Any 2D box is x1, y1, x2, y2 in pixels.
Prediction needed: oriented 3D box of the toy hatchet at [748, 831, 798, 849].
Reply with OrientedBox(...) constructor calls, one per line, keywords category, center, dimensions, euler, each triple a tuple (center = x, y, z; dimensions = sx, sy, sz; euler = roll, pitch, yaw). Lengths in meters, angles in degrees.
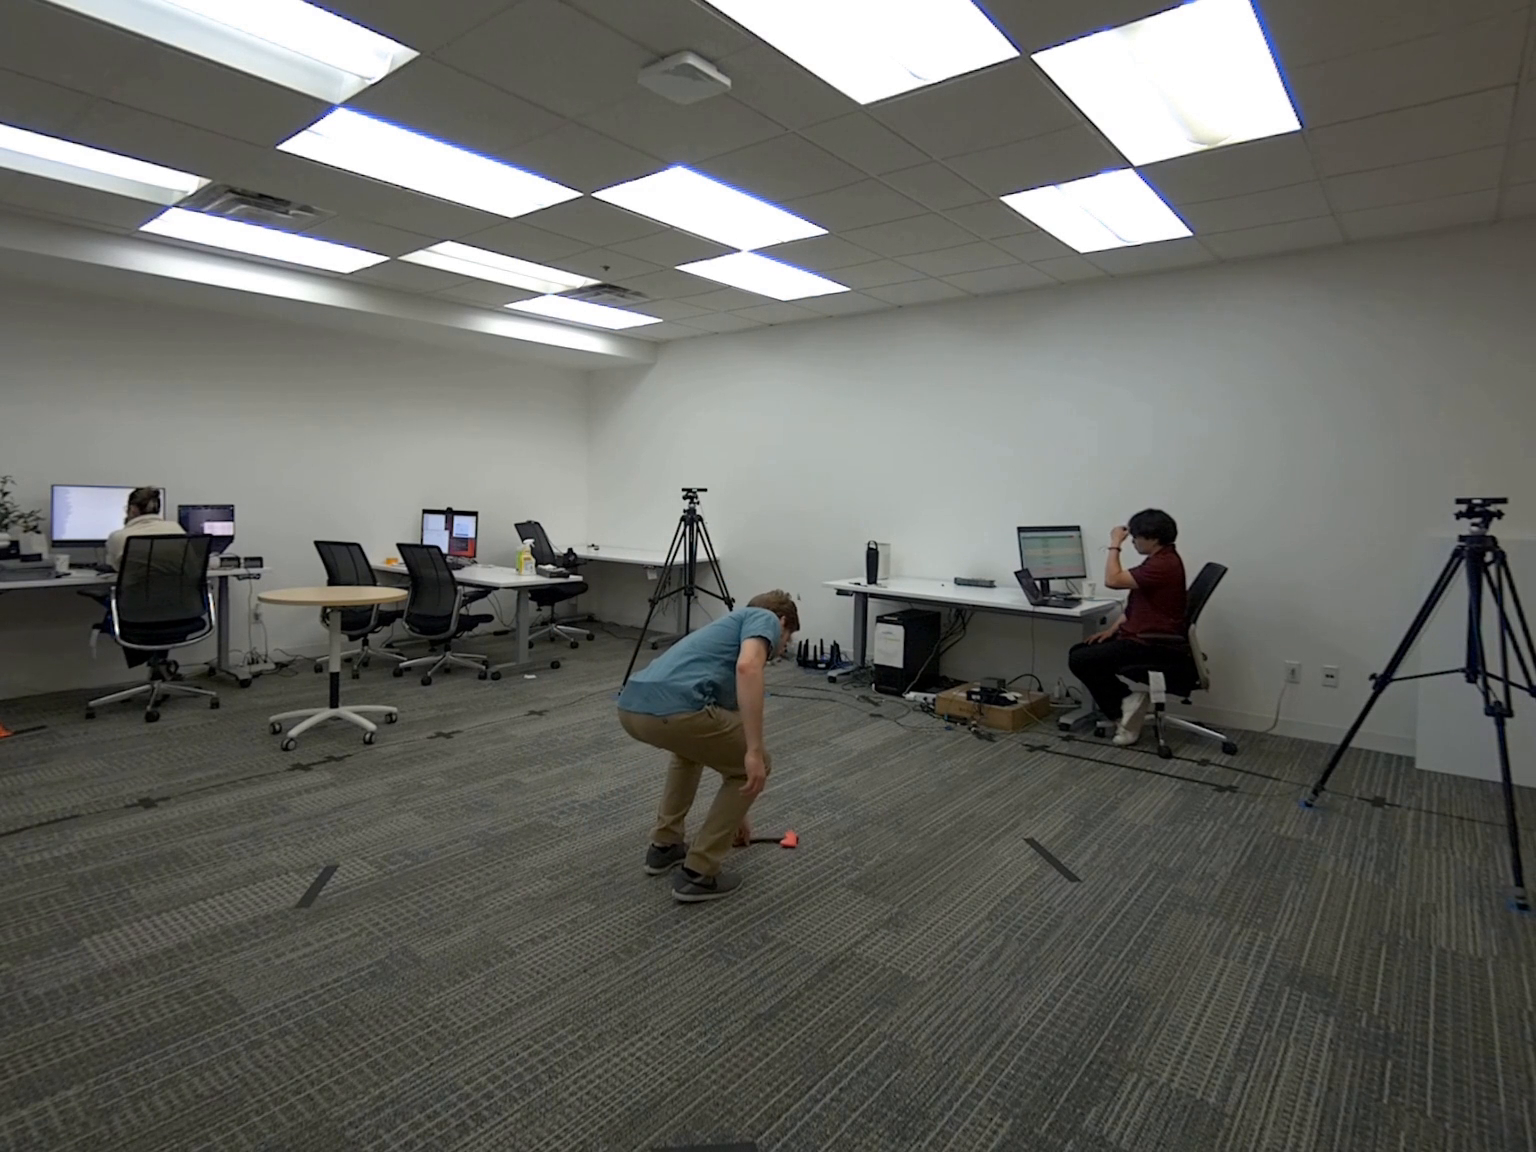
OrientedBox(category="toy hatchet", center=(-0.010, 1.046, 3.322), dimensions=(0.264, 0.029, 0.135), euler=(-4, 9, -25))
